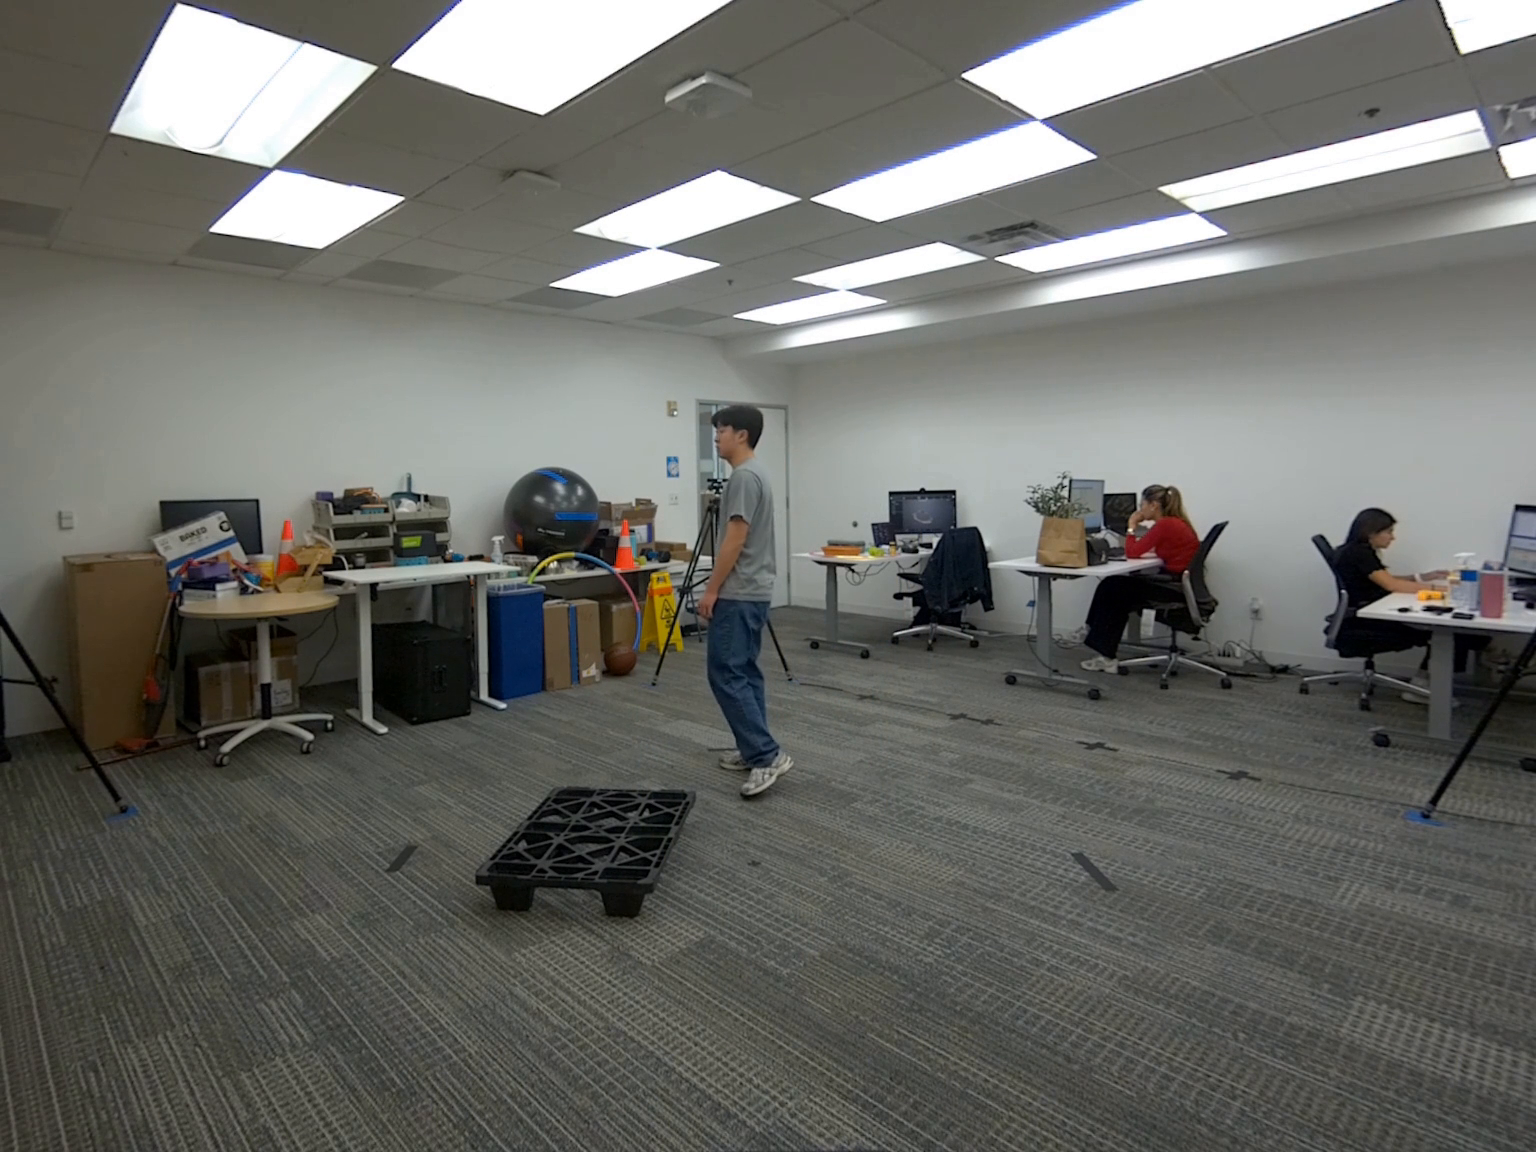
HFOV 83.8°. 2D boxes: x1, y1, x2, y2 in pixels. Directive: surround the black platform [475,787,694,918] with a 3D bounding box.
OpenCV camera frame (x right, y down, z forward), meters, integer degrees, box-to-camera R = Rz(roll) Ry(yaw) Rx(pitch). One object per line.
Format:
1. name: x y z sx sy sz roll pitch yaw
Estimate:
1. black platform: -0.614 0.983 3.127 0.610 0.142 0.804 0 7 7
